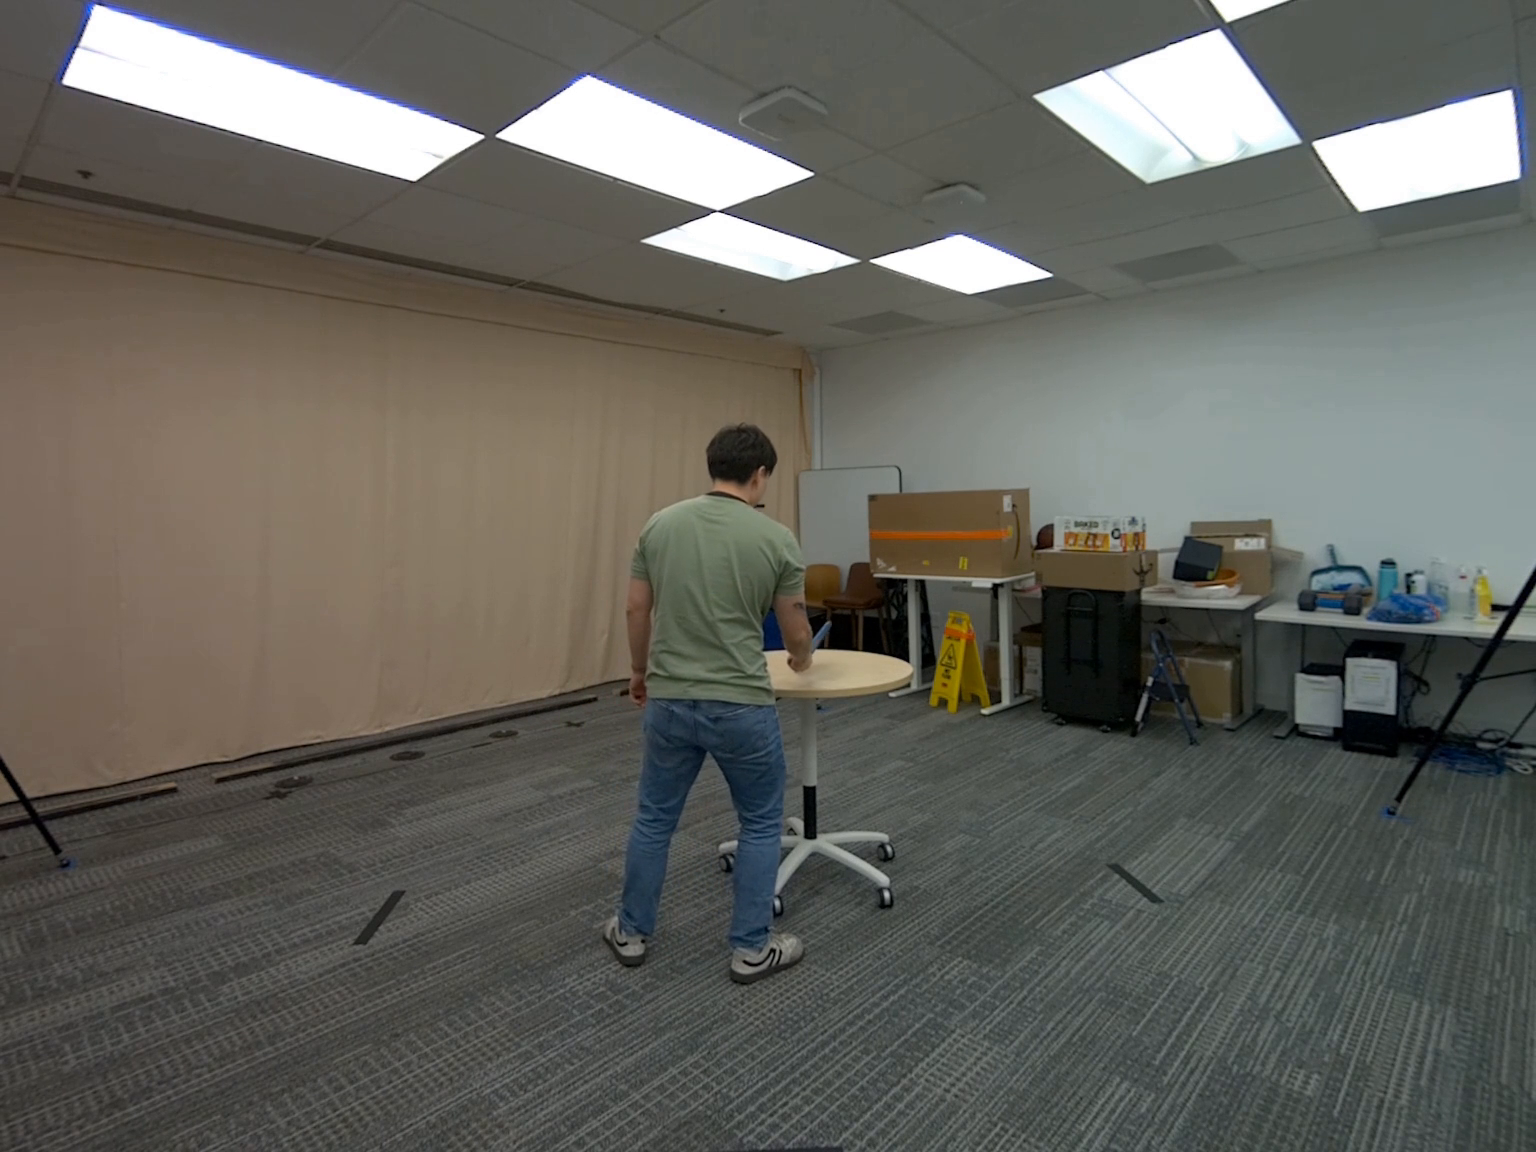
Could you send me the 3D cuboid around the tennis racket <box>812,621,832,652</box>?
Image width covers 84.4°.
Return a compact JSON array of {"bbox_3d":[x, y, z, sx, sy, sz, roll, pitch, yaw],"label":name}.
[{"bbox_3d":[0.161,0.263,2.987,0.032,0.214,0.426,37,12,9],"label":"tennis racket"}]
